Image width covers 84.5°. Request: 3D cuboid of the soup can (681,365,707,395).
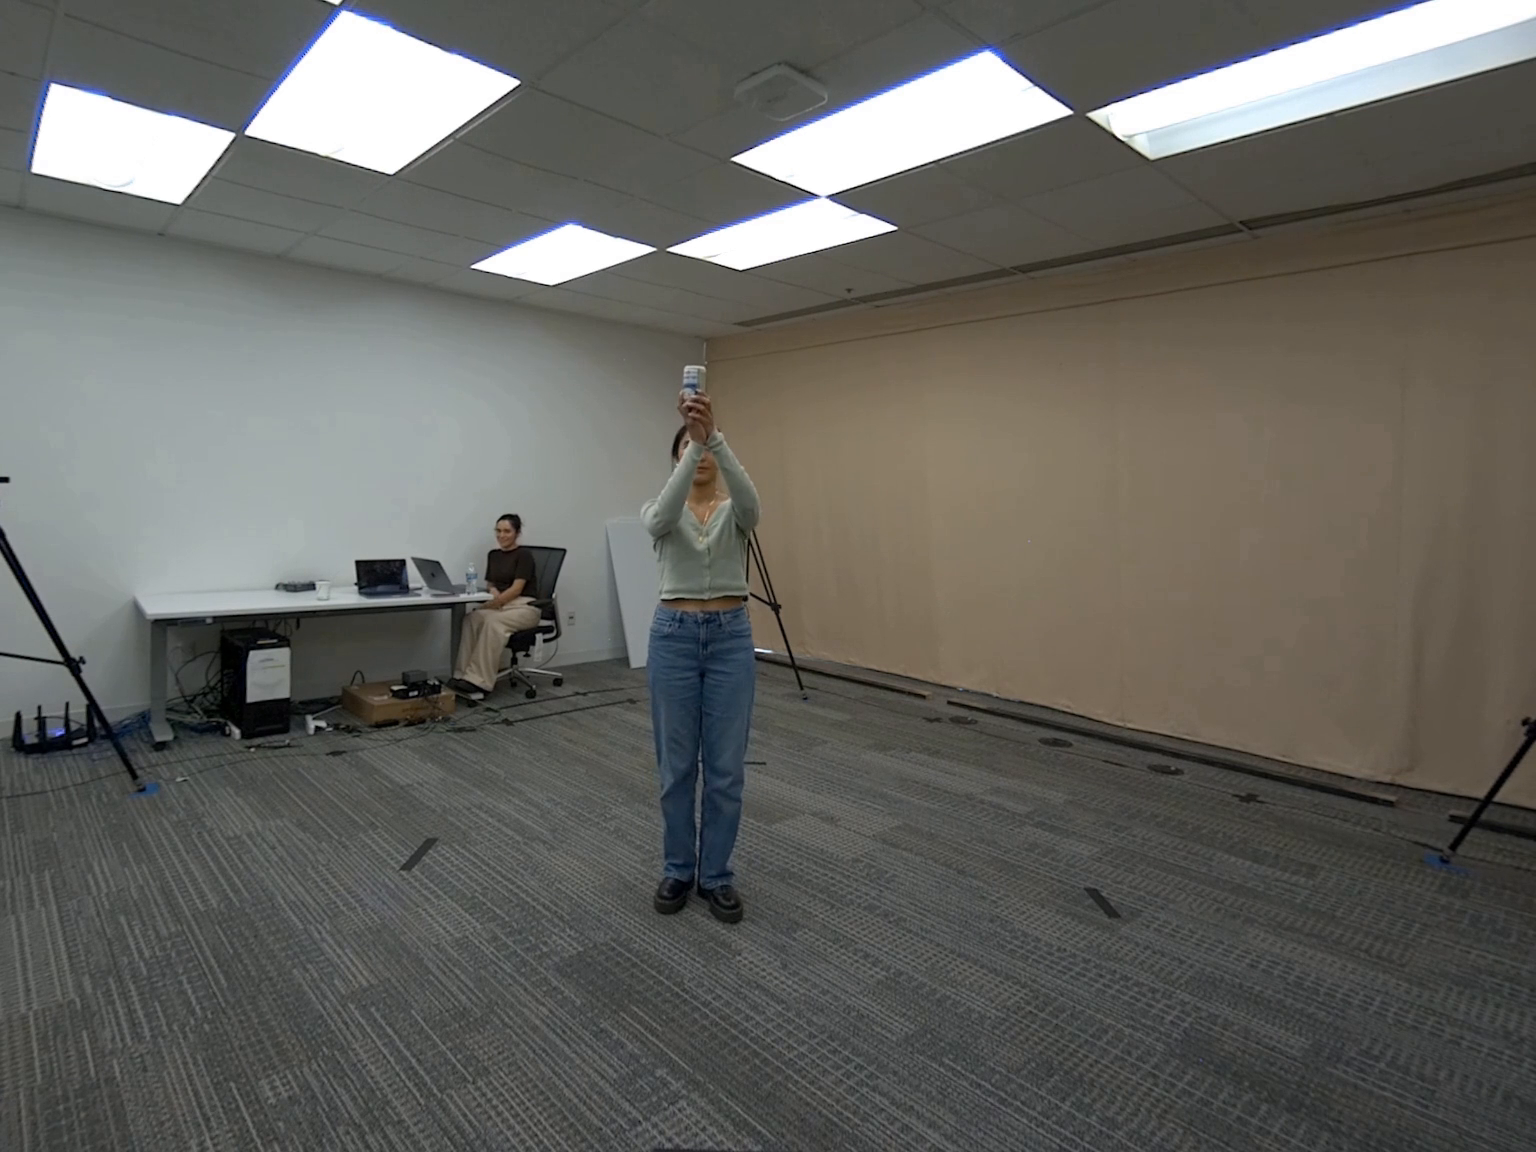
[{"bbox_3d":[-0.218,-0.557,2.503,0.067,0.121,0.067,2,1,-1],"label":"soup can"}]
